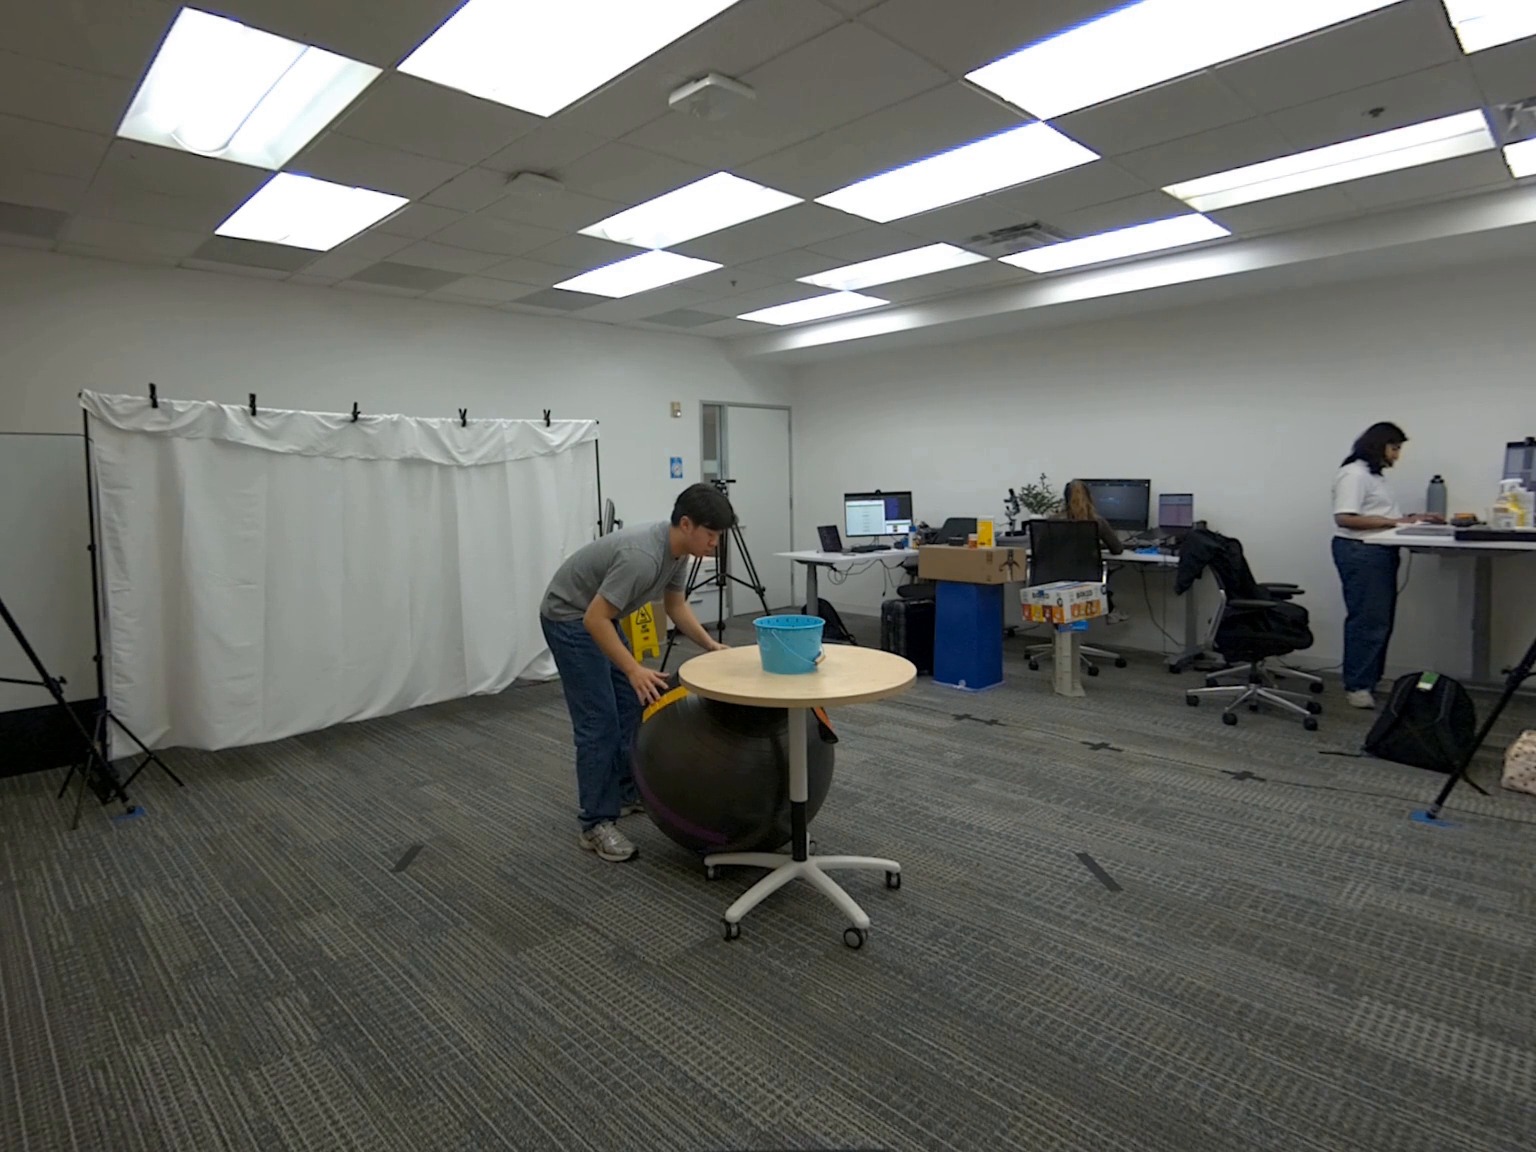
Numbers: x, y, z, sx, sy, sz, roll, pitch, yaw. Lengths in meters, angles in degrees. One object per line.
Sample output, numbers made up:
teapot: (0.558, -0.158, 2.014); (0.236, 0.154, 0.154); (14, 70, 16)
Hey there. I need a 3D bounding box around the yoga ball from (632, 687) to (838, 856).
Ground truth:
yoga ball: (-0.136, 0.666, 3.200); (0.757, 0.755, 0.762); (-1, 5, -2)
